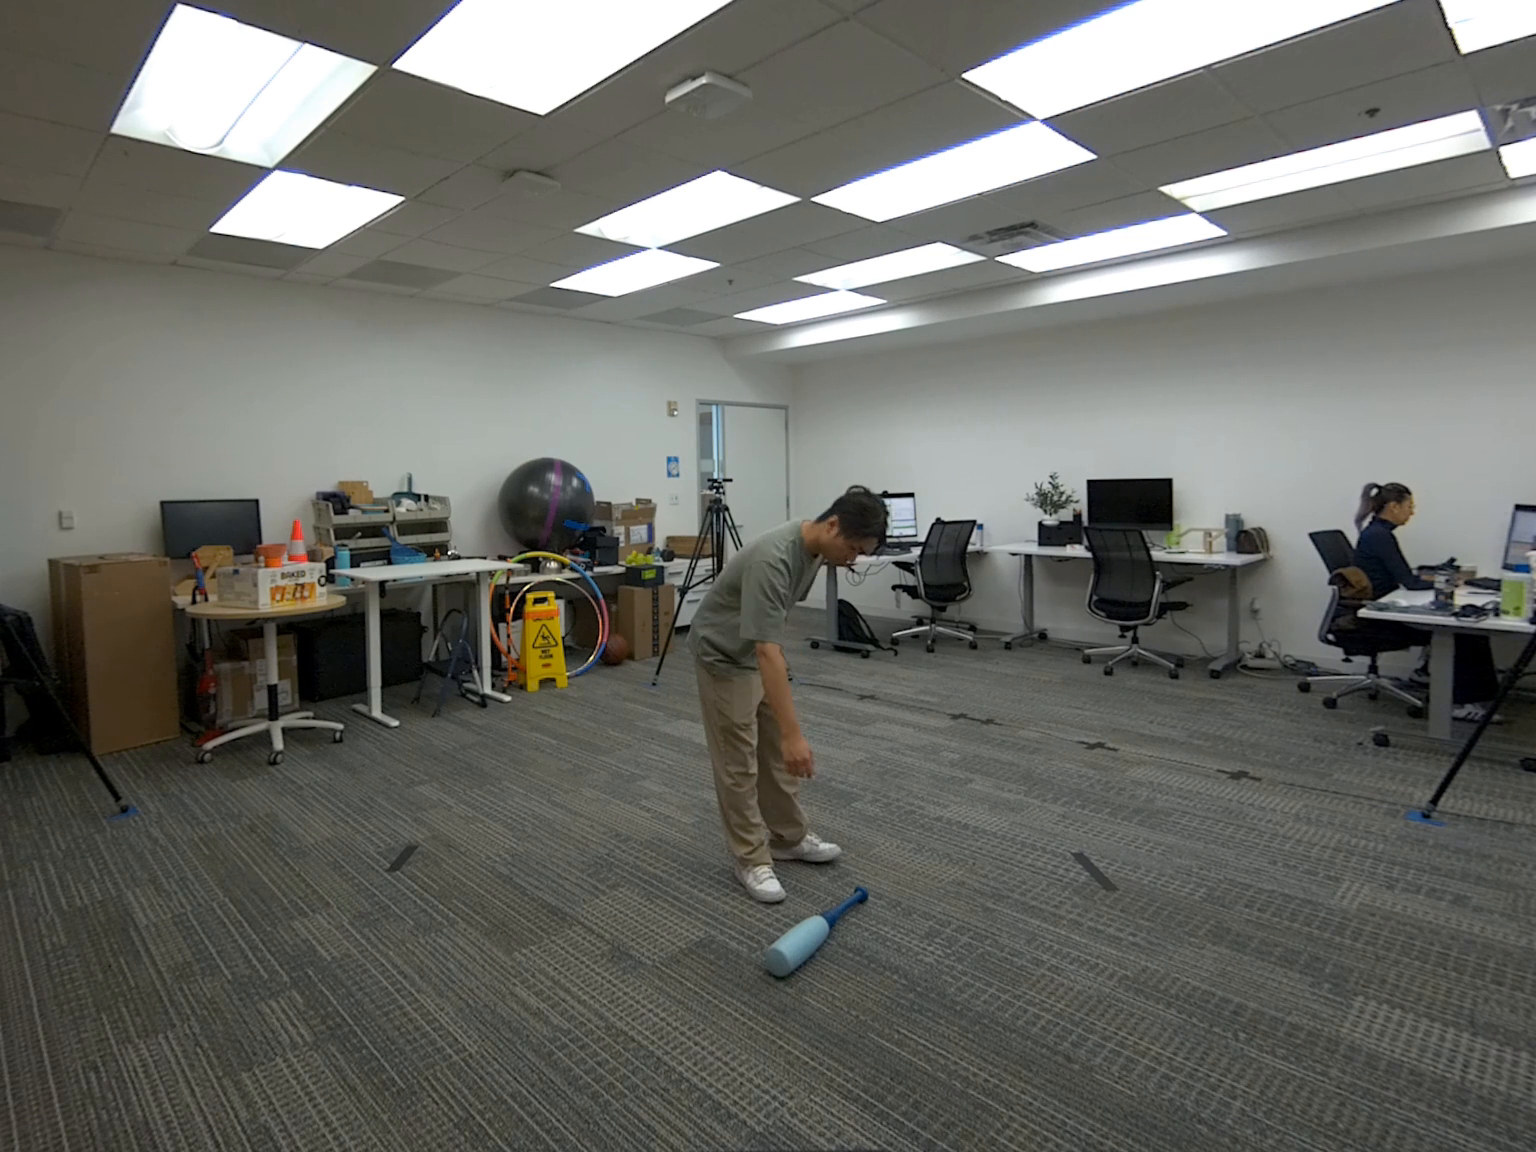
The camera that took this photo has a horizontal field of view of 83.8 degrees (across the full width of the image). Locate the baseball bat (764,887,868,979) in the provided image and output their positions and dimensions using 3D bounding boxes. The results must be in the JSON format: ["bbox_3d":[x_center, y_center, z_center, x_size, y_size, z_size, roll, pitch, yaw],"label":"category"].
[{"bbox_3d":[0.169,1.065,2.597,0.091,0.089,0.530,2,6,34],"label":"baseball bat"}]
